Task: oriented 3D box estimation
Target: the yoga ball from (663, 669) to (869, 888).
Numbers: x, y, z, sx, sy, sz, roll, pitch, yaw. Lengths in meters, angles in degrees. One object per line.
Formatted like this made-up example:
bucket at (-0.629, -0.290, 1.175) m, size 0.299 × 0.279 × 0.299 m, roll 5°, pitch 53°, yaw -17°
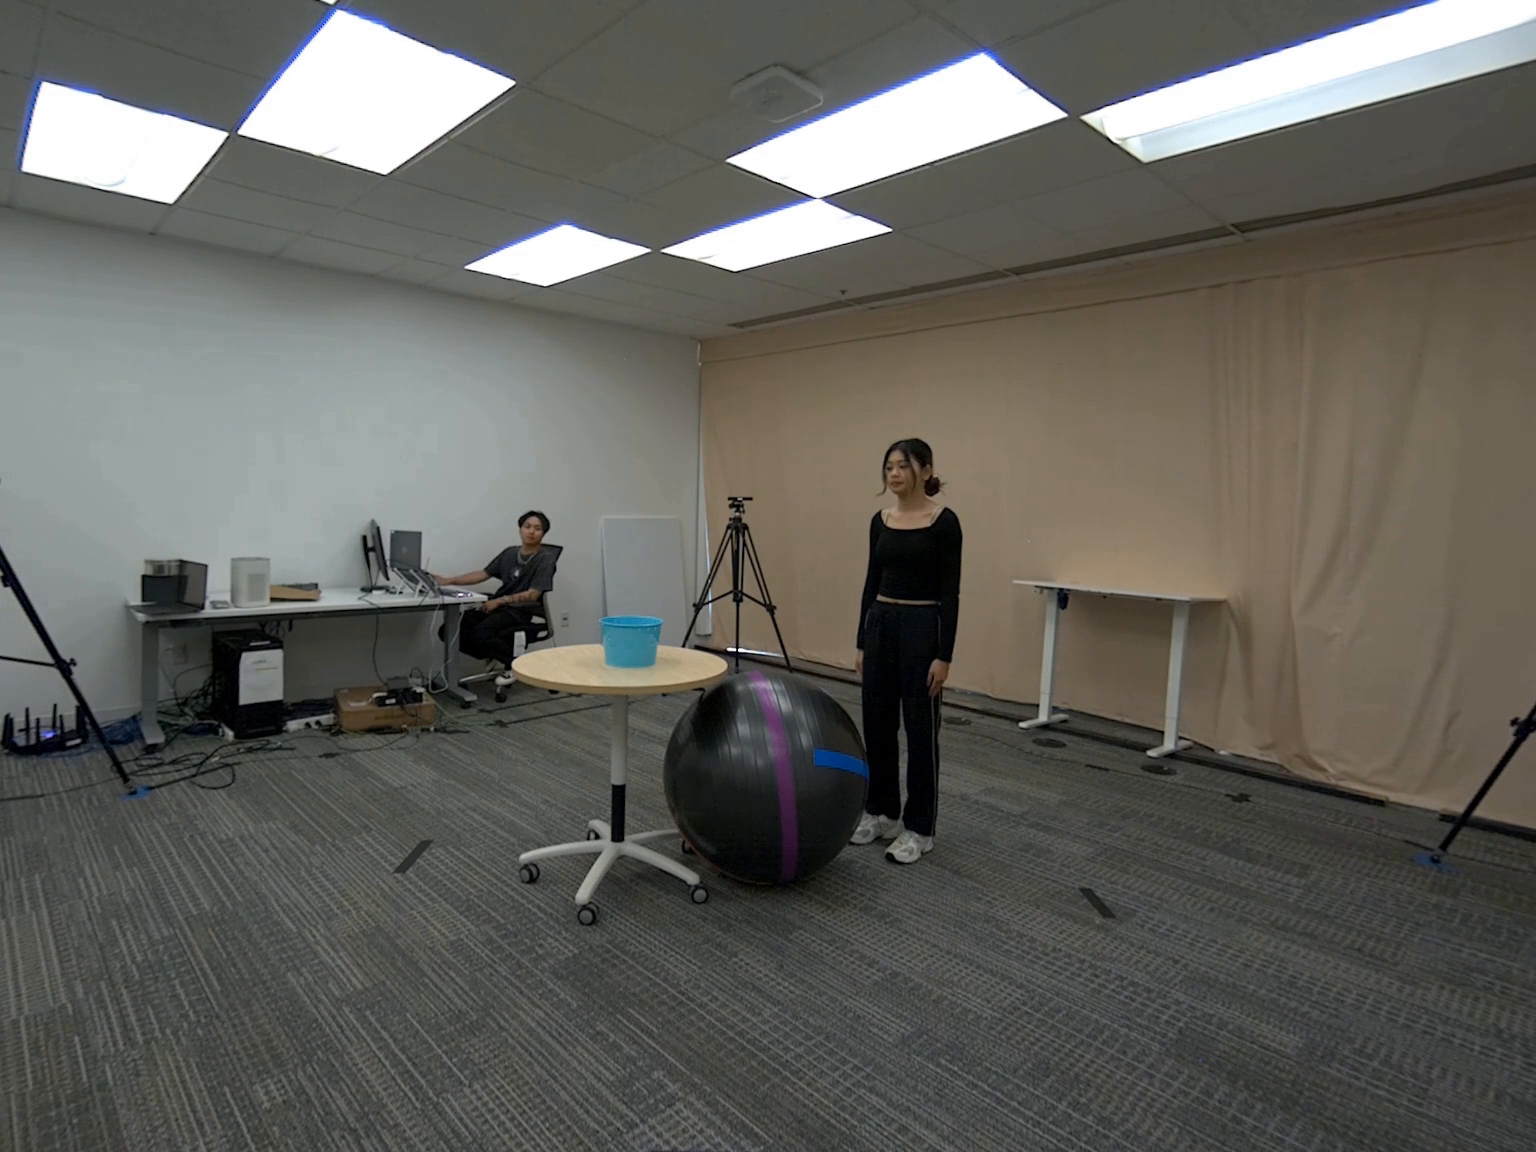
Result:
yoga ball at (-0.004, 0.746, 3.126) m, size 0.757 × 0.756 × 0.761 m, roll 1°, pitch 4°, yaw -1°
